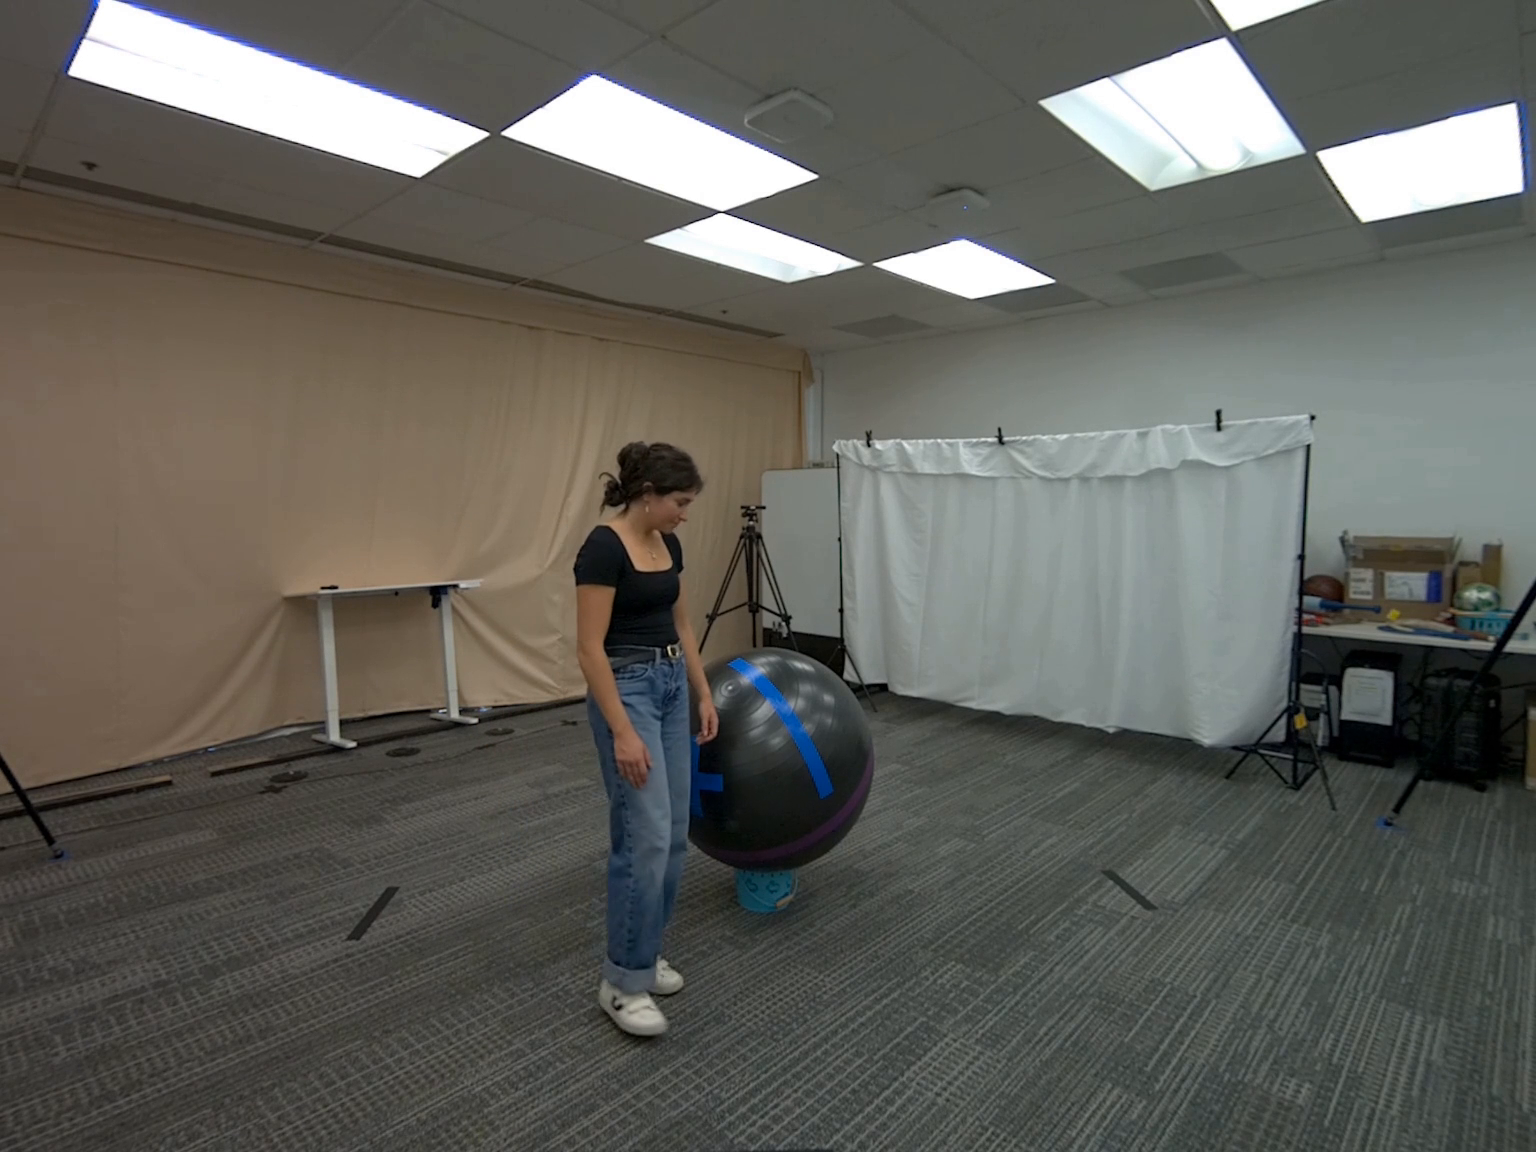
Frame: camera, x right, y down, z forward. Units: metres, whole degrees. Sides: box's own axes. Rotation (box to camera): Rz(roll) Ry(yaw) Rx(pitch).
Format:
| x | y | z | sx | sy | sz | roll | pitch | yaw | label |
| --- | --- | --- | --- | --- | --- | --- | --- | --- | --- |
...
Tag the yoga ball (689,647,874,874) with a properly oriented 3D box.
| x | y | z | sx | sy | sz | roll | pitch | yaw | label |
| --- | --- | --- | --- | --- | --- | --- | --- | --- | --- |
| -0.012 | 0.632 | 2.953 | 0.757 | 0.756 | 0.760 | 0 | 4 | -2 | yoga ball |
